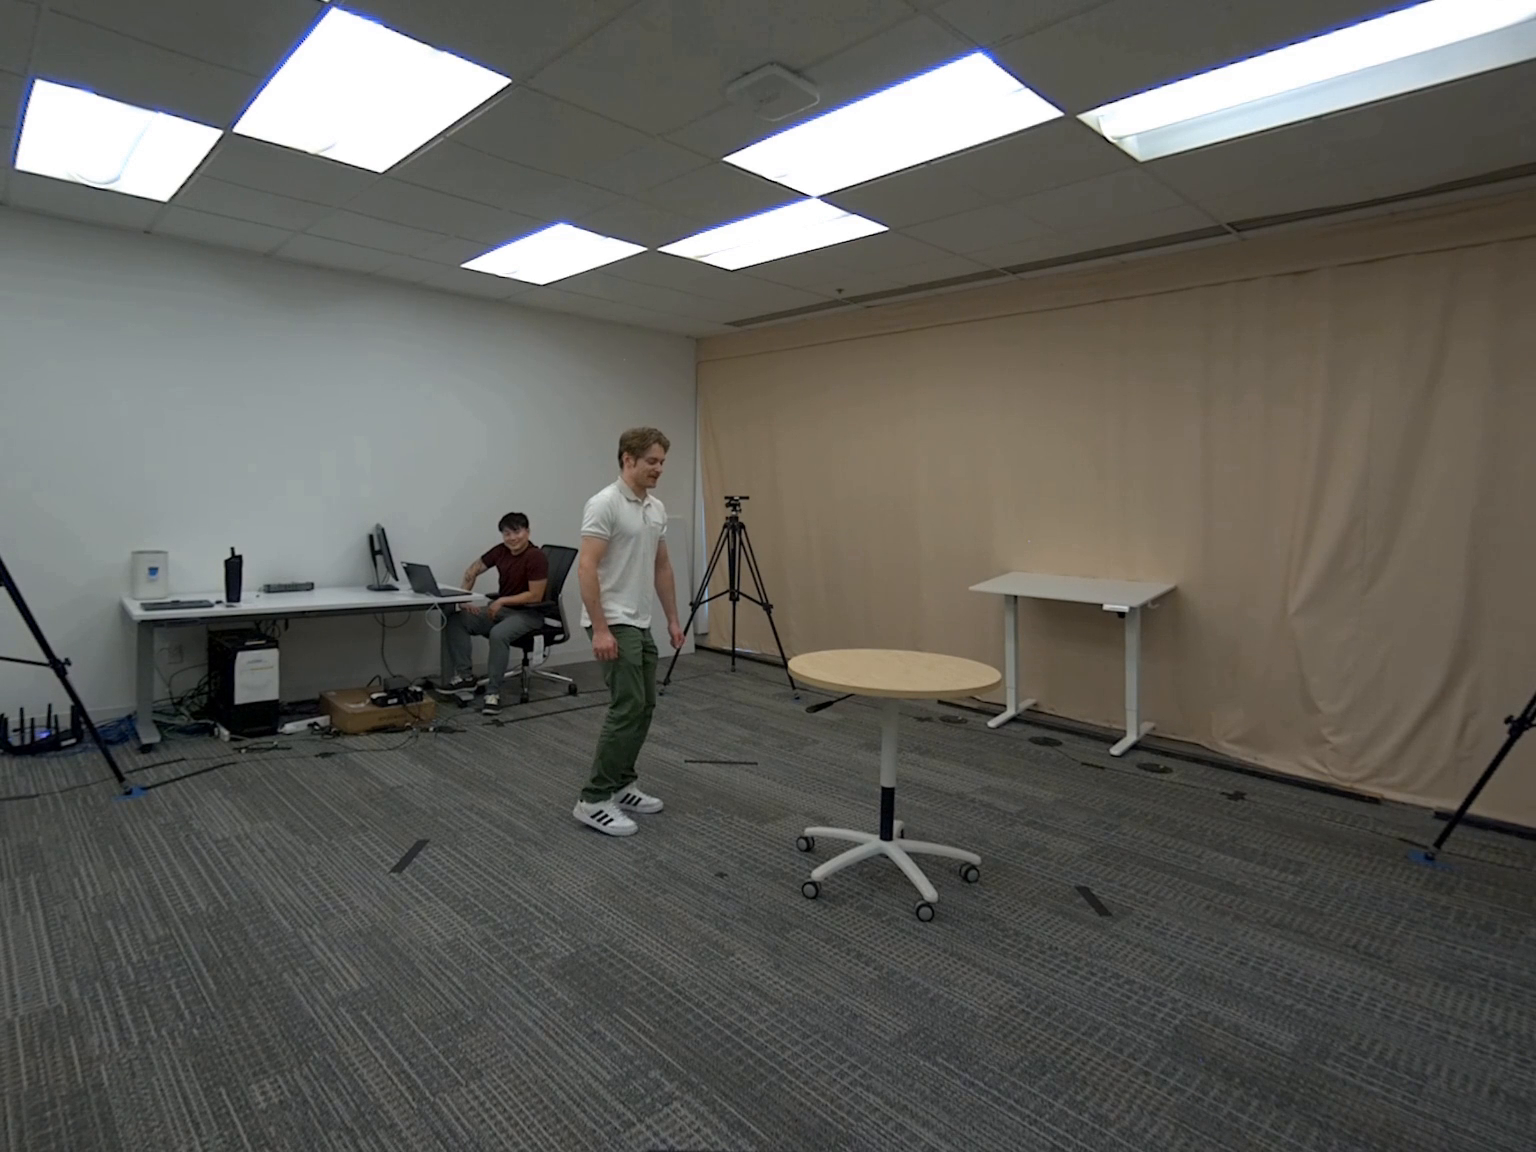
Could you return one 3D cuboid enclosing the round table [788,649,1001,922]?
[{"bbox_3d":[0.436,0.730,3.105,0.763,0.792,0.766,1,4,-1],"label":"round table"}]
